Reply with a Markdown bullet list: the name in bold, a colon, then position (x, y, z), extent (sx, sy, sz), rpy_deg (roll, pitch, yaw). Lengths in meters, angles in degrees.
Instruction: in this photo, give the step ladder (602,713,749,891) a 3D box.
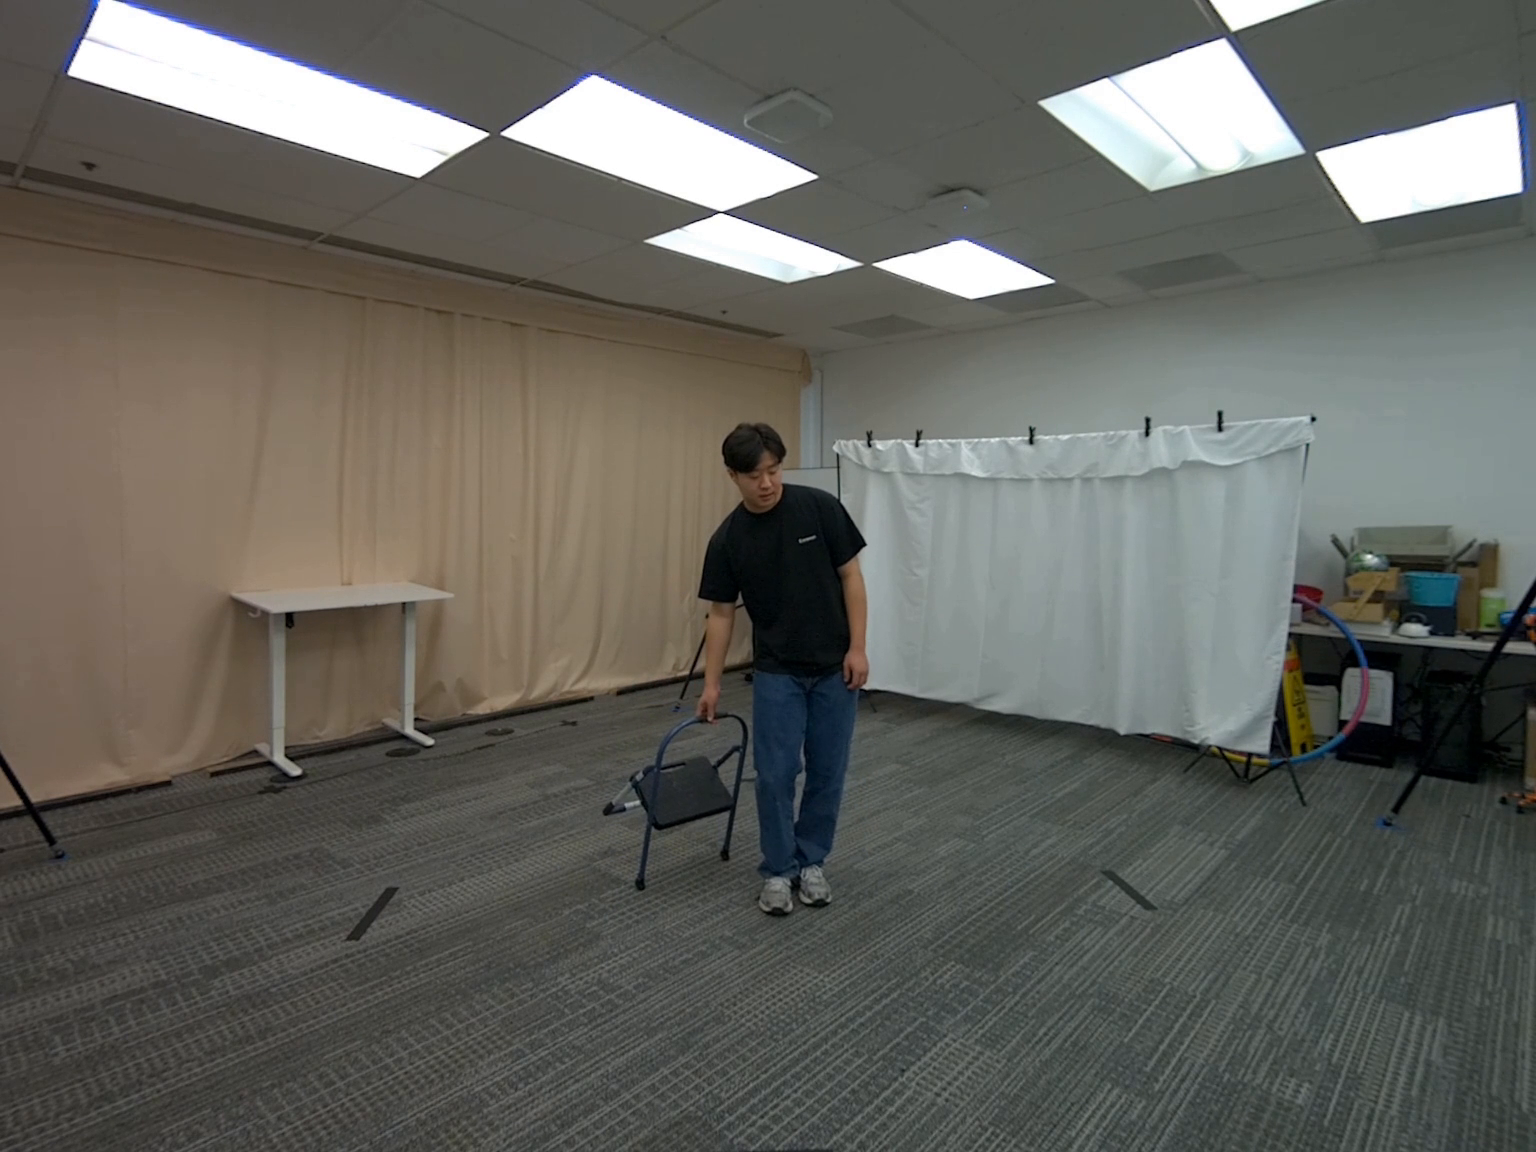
- **step ladder**: position (-0.290, 0.785, 3.142), extent (0.418, 0.604, 0.361), rpy_deg (-4, 41, -39)
